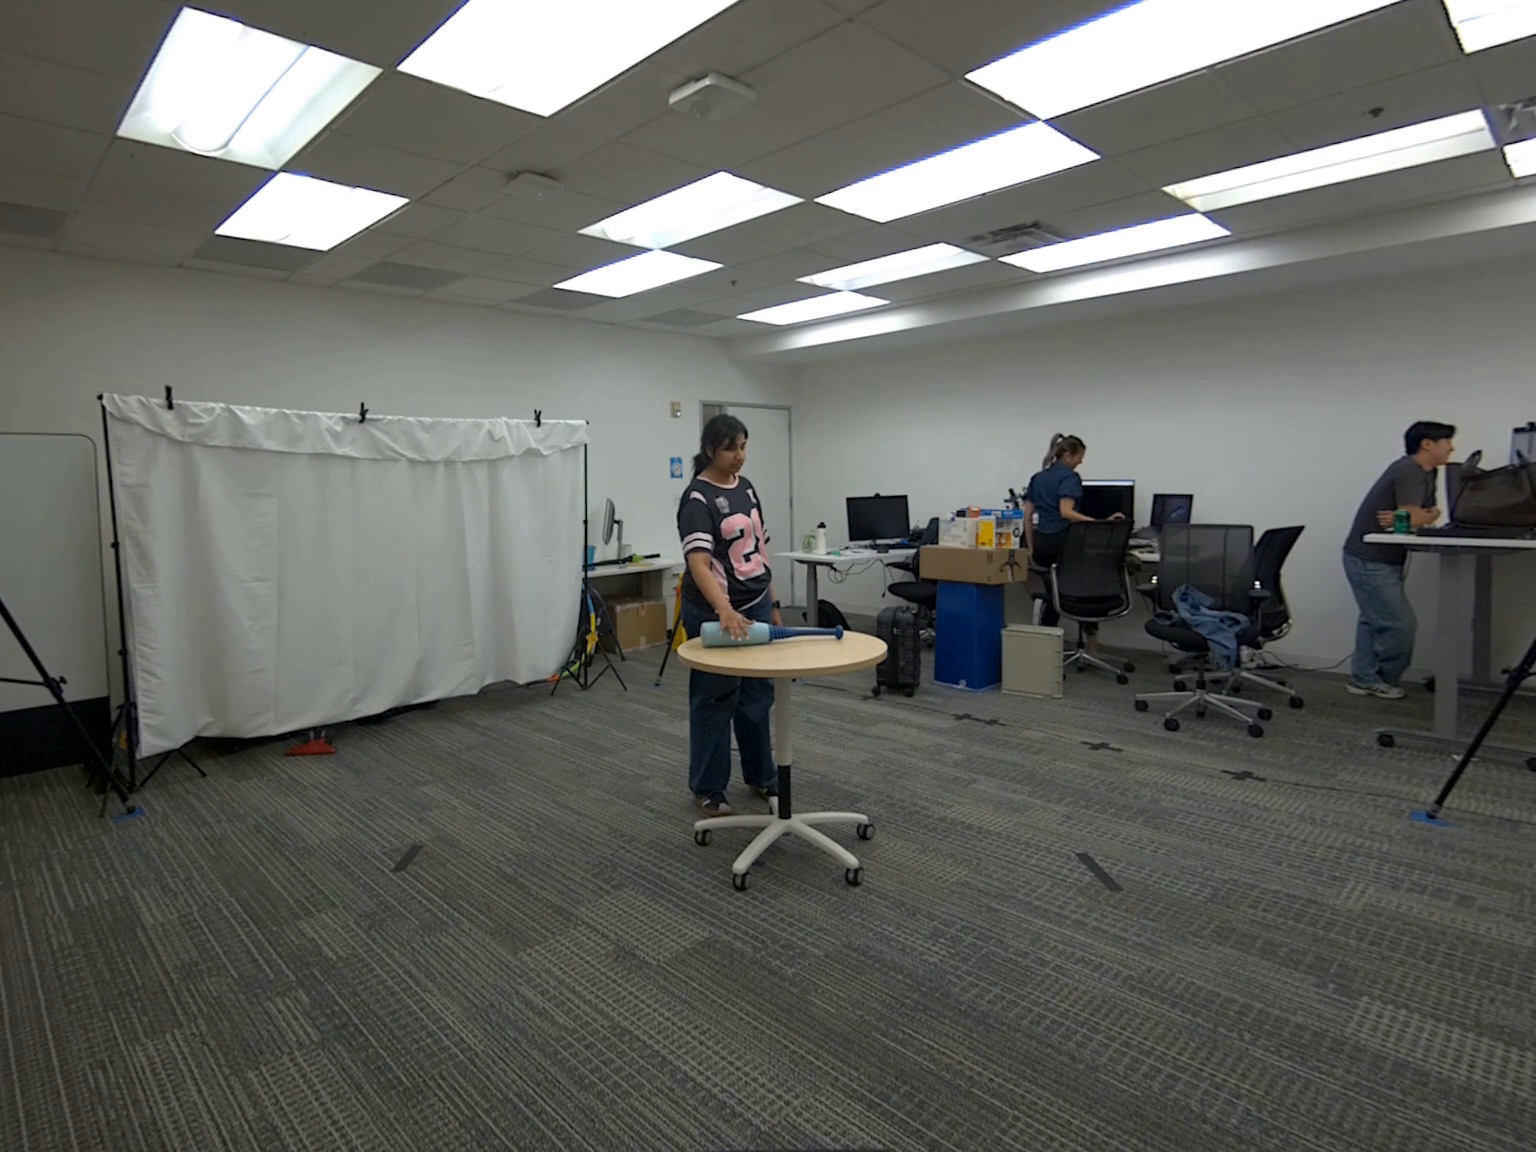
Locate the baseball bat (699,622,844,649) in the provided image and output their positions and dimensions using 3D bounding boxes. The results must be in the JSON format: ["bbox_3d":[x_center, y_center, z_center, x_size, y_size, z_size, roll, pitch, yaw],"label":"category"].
[{"bbox_3d":[0.018,0.217,3.206,0.538,0.089,0.090,0,4,-10],"label":"baseball bat"}]
